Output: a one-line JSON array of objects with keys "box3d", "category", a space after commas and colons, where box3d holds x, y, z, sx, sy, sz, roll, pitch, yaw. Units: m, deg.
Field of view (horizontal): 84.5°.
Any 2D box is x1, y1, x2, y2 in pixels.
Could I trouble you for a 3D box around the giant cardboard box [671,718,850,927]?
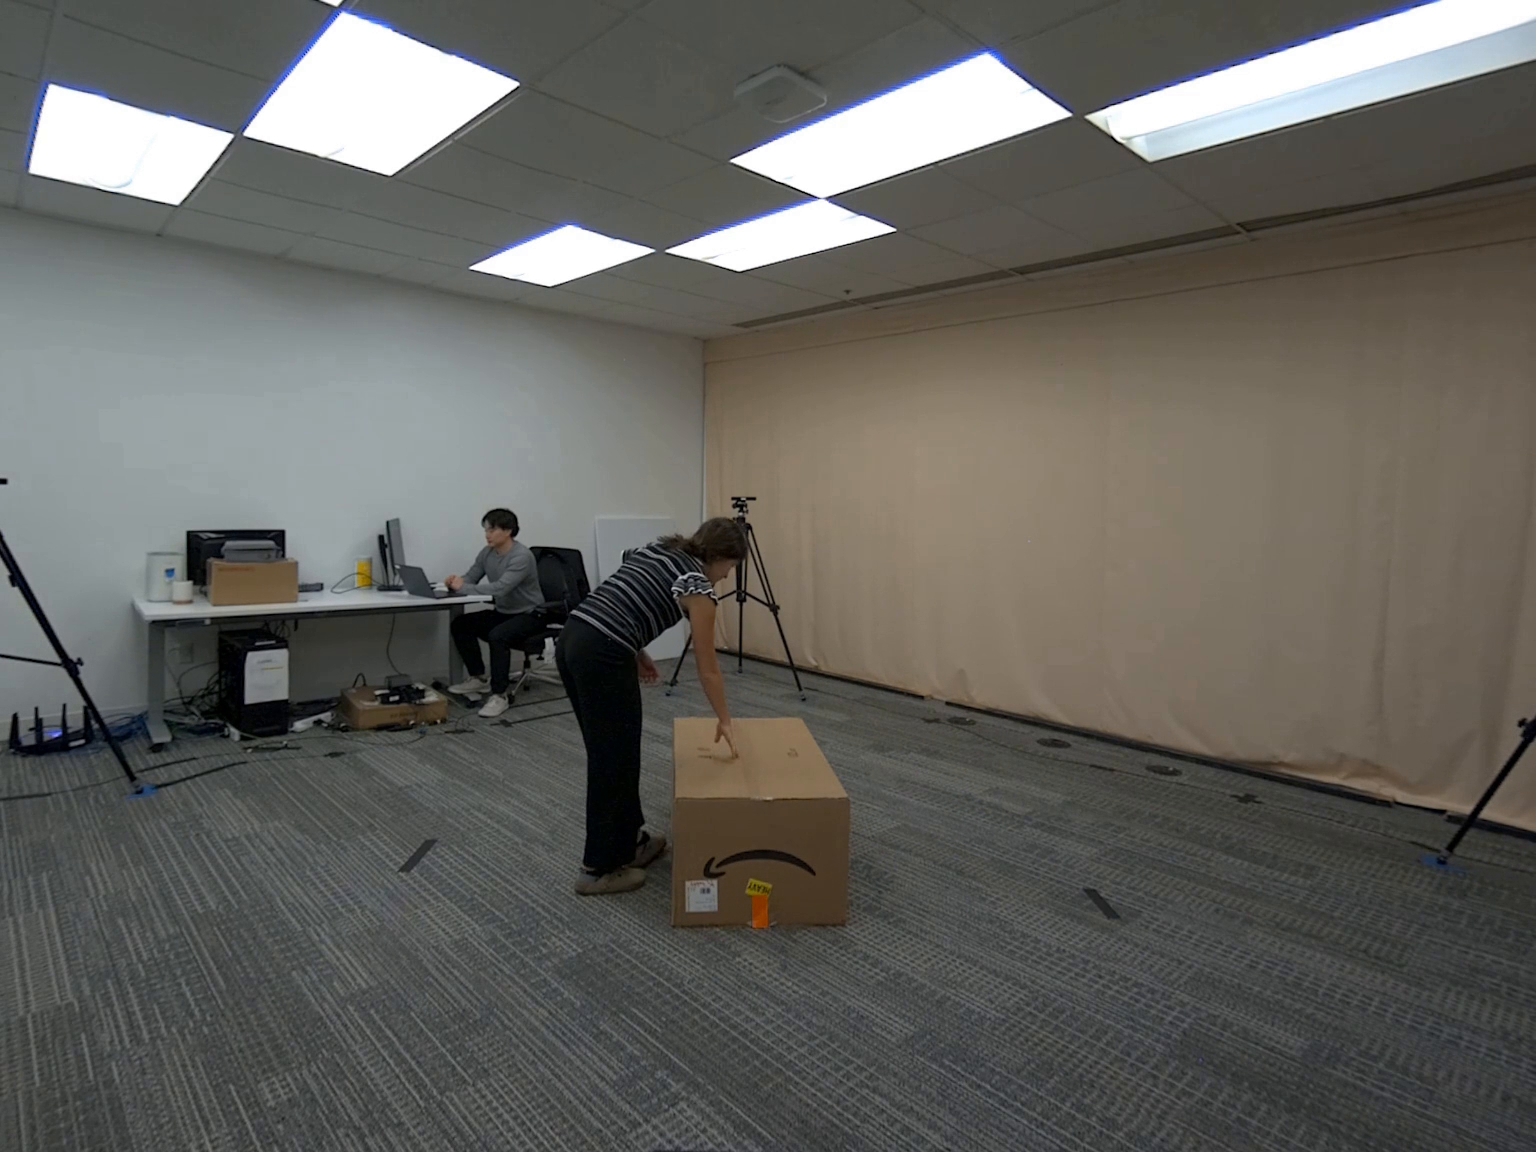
[{"box3d": [-0.083, 0.886, 3.233, 0.575, 0.425, 1.033, 1, 5, -6], "category": "giant cardboard box"}]
